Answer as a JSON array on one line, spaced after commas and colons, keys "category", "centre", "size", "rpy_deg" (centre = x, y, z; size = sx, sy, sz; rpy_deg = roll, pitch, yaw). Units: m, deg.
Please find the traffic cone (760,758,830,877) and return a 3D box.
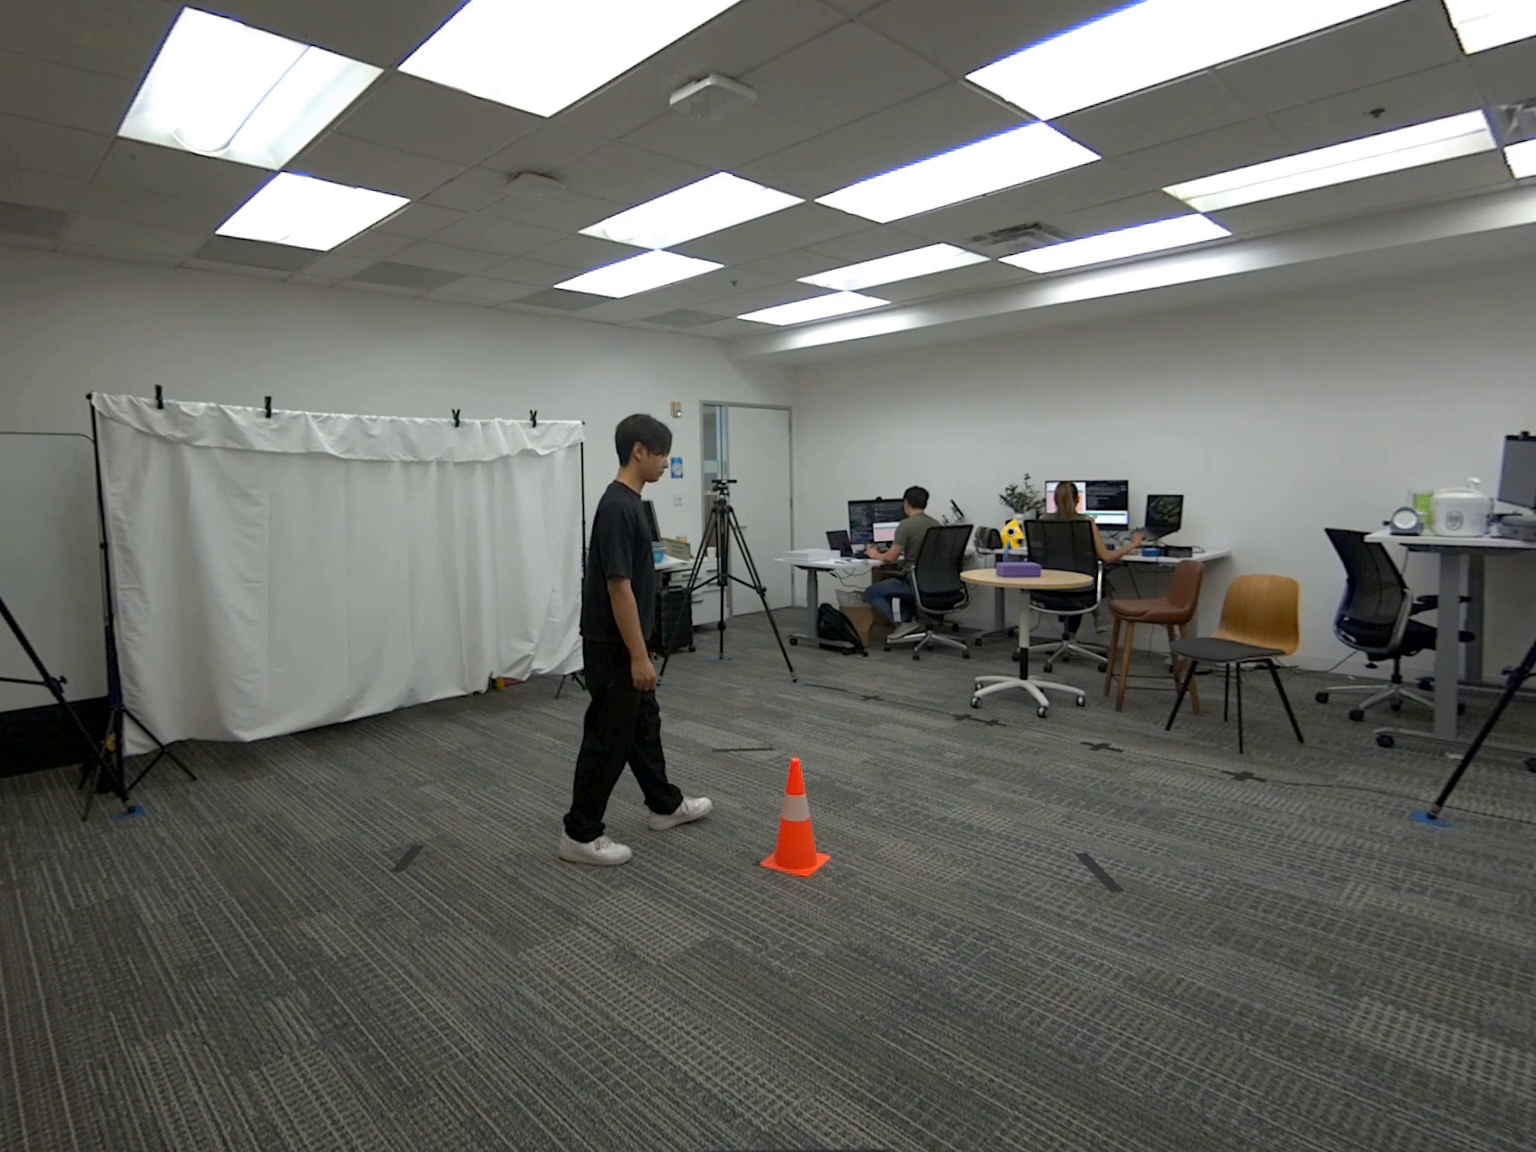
[{"category": "traffic cone", "centre": [0.091, 0.859, 3.114], "size": [0.209, 0.382, 0.200], "rpy_deg": [1, 5, 30]}]
